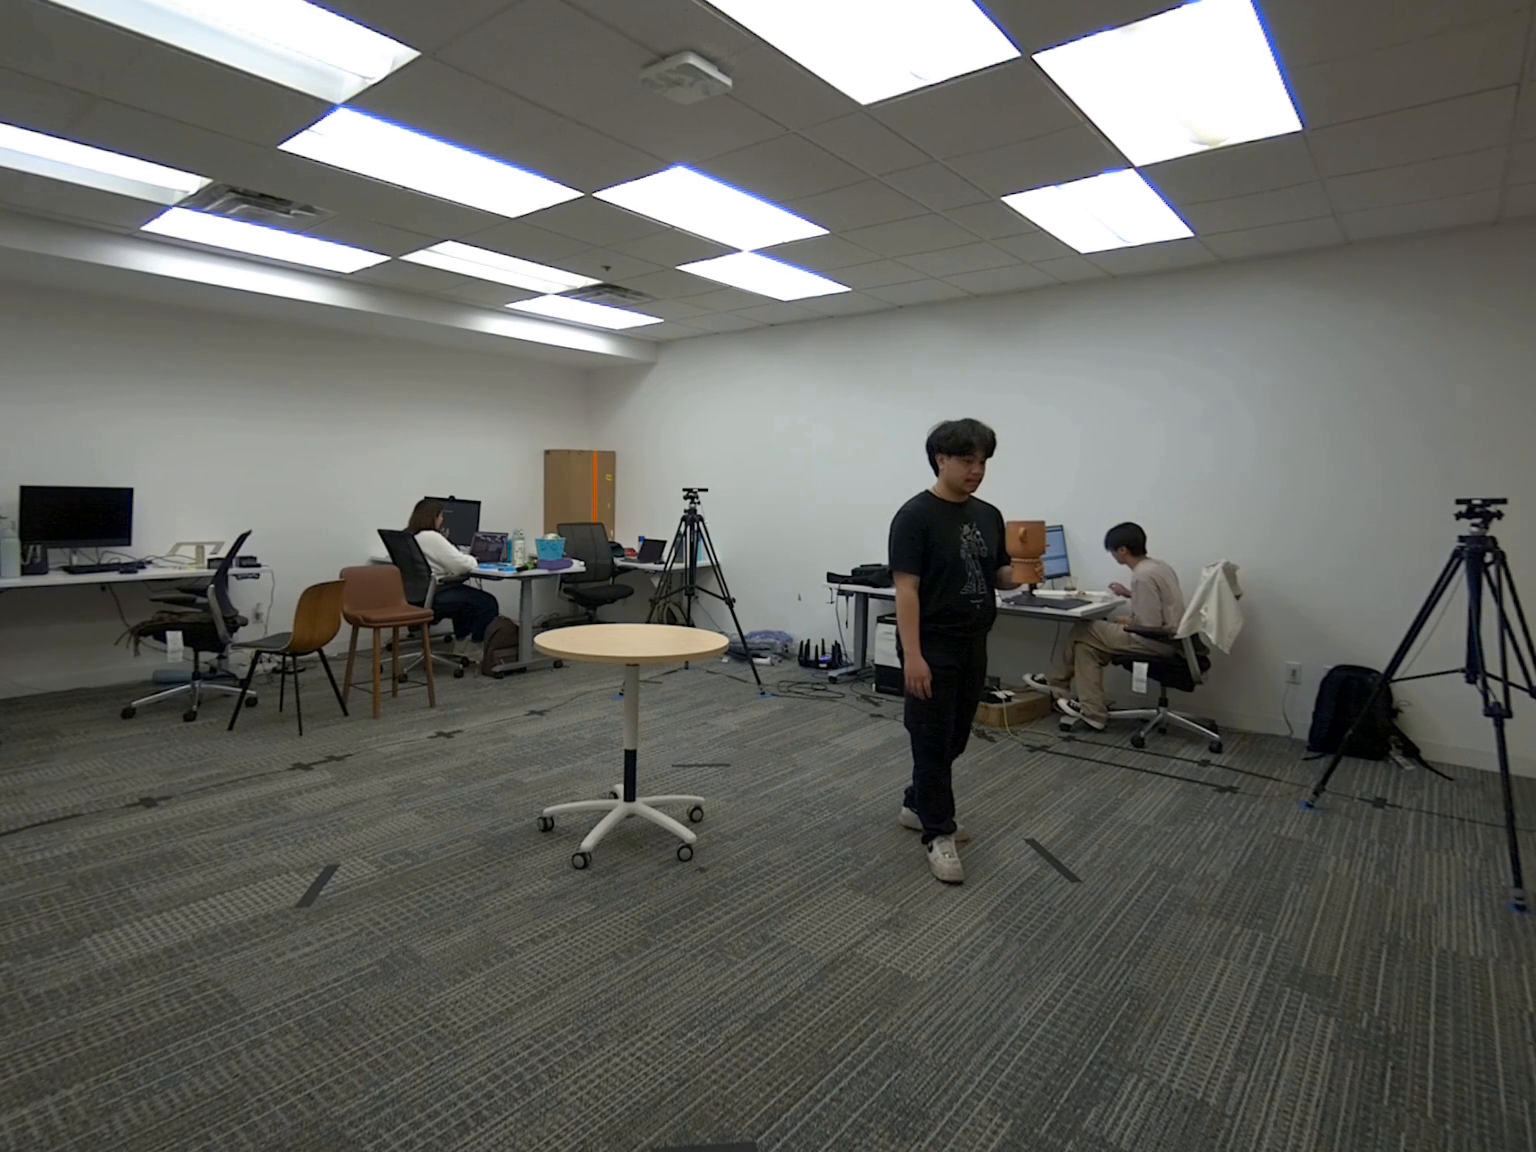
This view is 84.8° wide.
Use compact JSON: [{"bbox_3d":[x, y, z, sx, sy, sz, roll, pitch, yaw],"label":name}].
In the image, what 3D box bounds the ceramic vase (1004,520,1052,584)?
[{"bbox_3d":[0.897,-0.089,3.002,0.156,0.219,0.137,-2,3,-19],"label":"ceramic vase"}]
